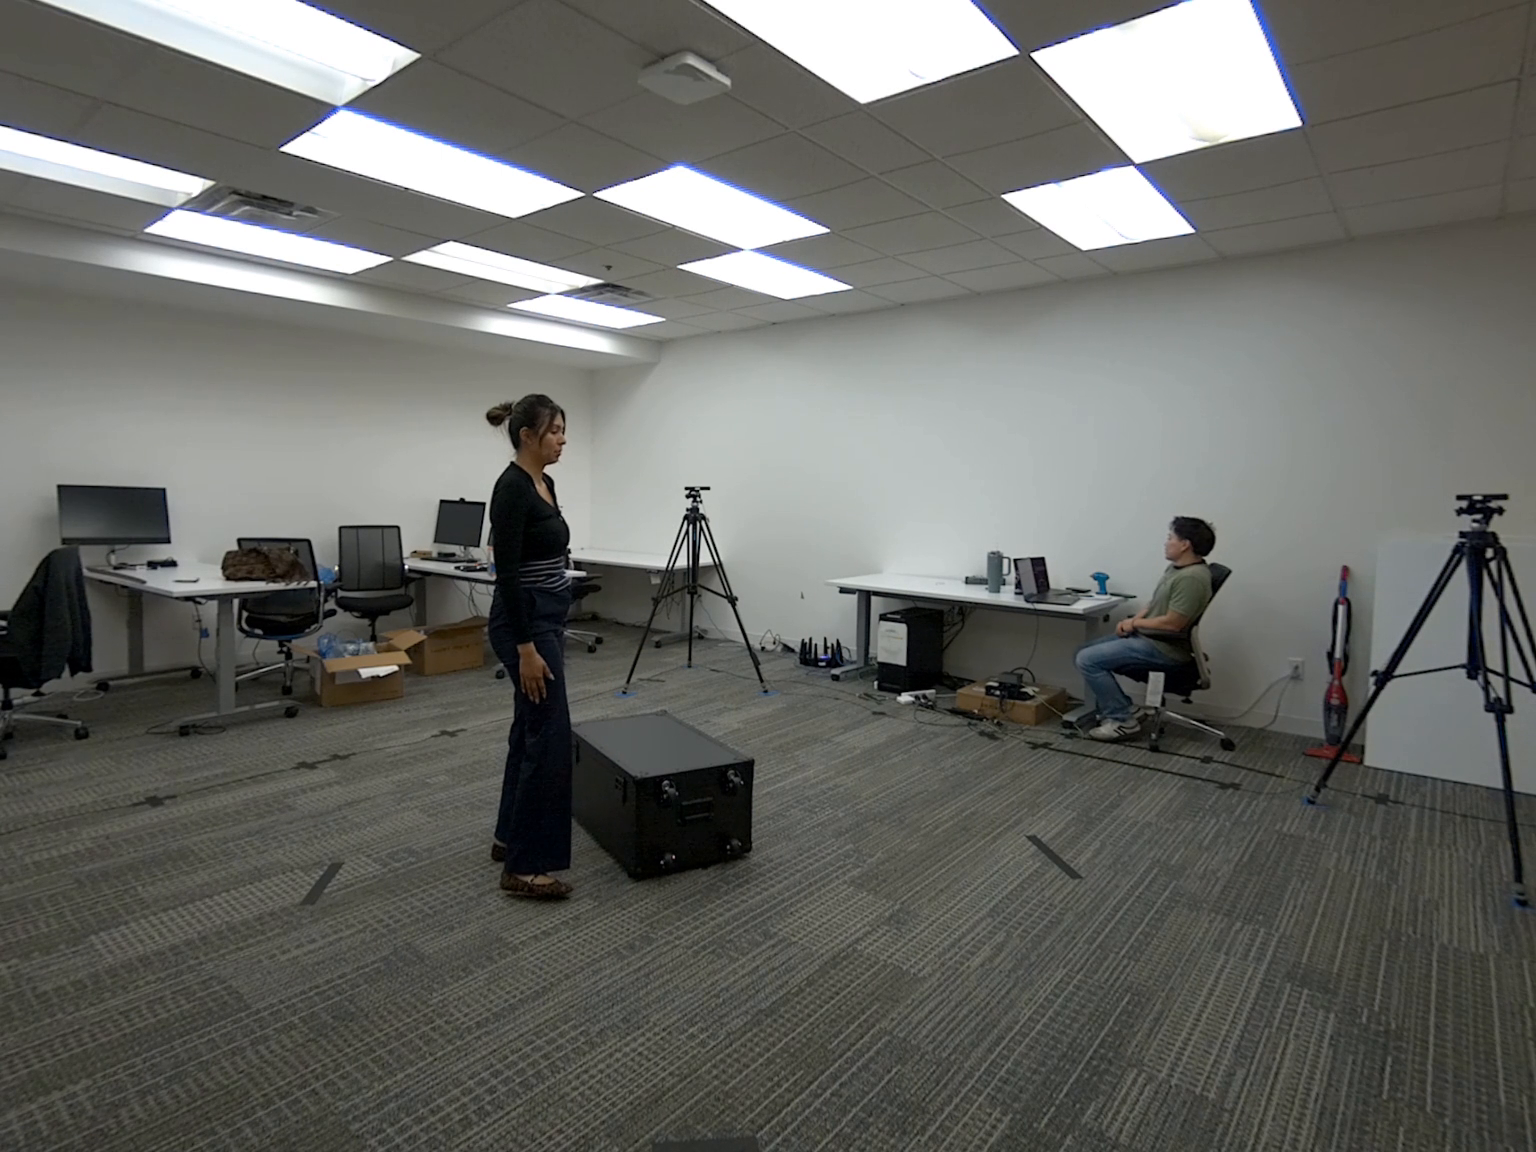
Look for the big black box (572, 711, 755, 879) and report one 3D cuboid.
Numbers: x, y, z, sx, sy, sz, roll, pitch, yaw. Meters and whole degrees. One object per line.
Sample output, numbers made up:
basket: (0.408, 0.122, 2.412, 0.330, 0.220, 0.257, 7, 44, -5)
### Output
big black box: (-0.490, 0.840, 3.436, 0.507, 0.395, 0.888, -2, 6, -31)
